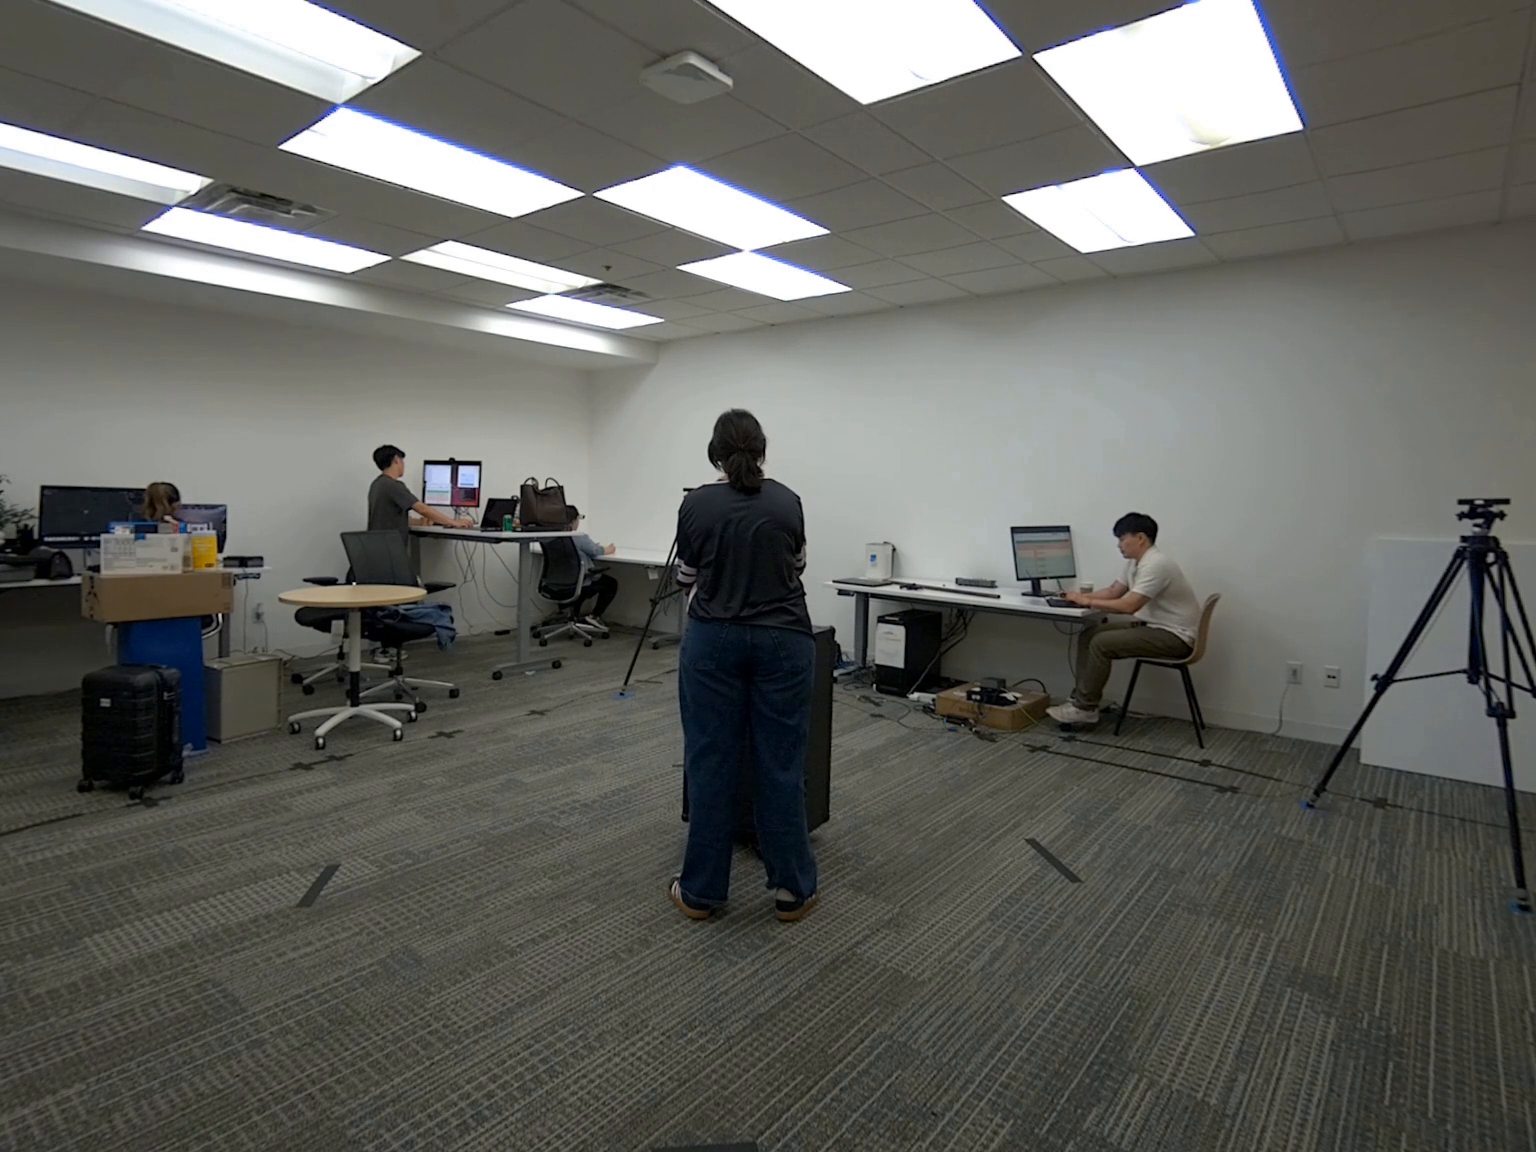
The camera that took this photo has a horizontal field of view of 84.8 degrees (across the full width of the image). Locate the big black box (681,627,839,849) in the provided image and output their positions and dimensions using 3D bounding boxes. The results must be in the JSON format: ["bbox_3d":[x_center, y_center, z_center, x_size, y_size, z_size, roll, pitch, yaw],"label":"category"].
[{"bbox_3d":[-0.052,0.621,3.391,0.539,0.867,0.375,3,3,30],"label":"big black box"}]
